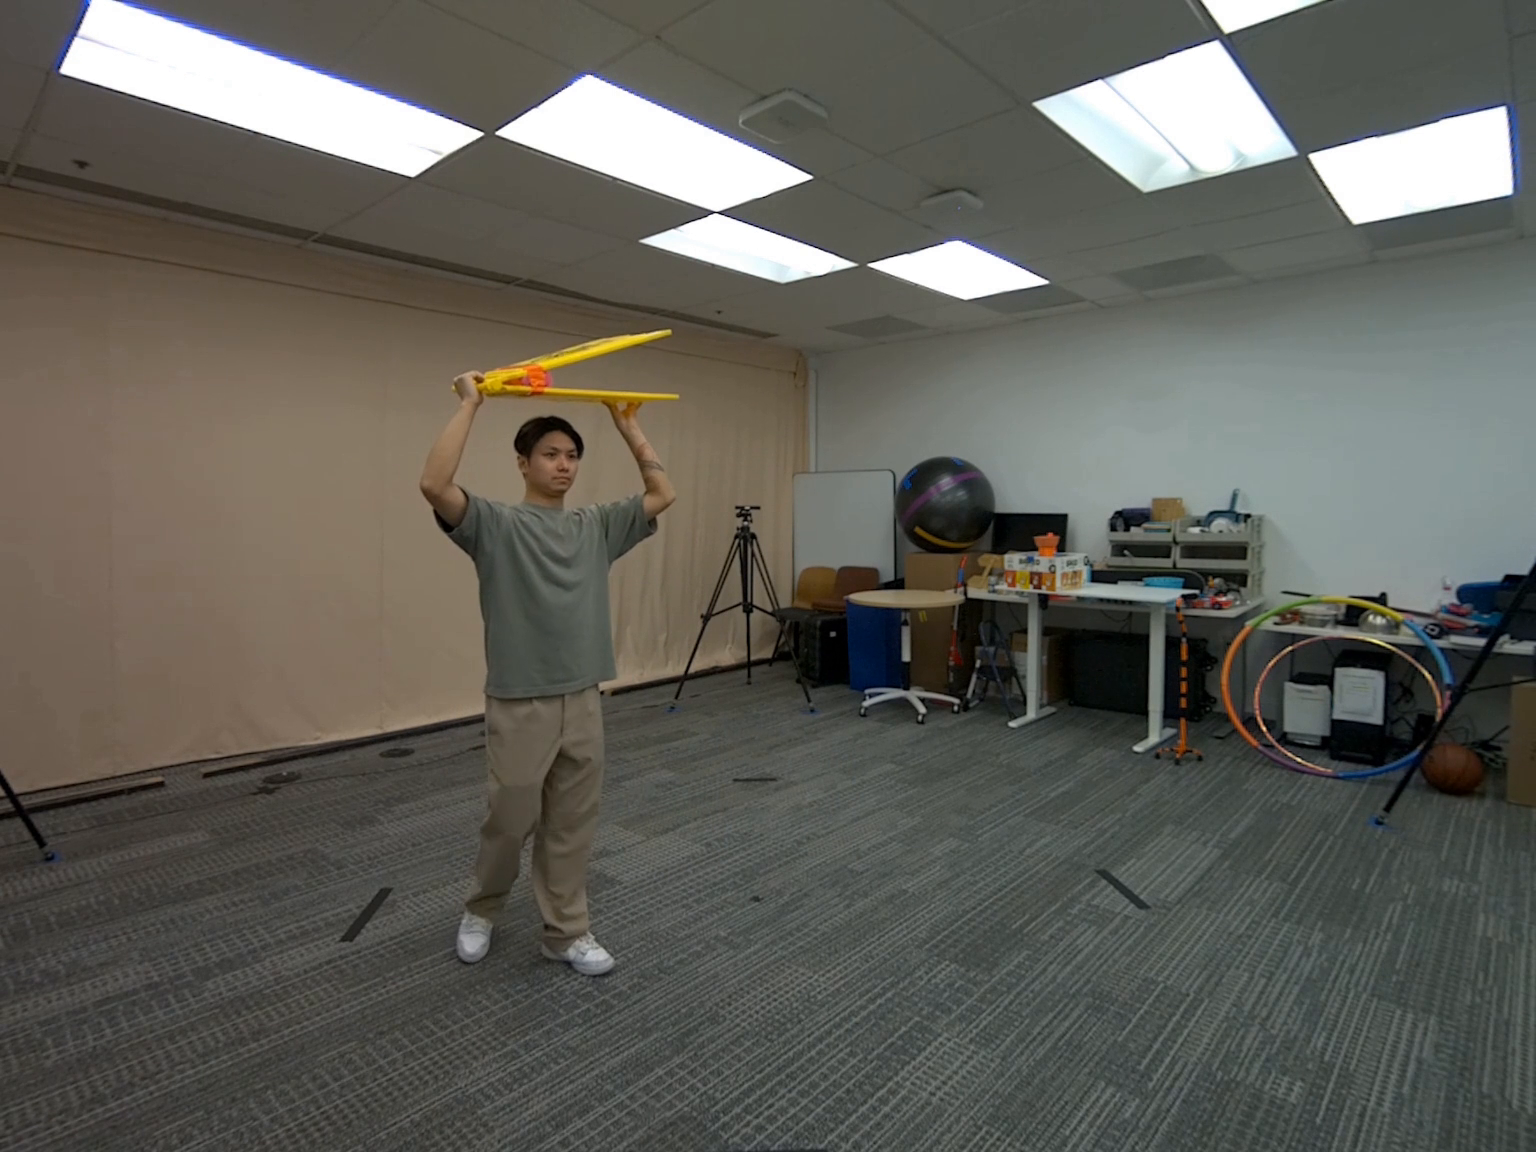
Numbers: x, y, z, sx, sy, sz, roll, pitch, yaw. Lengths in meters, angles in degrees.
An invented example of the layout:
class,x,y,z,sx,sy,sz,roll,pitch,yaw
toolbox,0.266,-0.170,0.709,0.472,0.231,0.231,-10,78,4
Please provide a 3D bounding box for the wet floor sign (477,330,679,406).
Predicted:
class,x,y,z,sx,sy,sz,roll,pitch,yaw
wet floor sign,-0.606,-0.597,2.503,0.292,0.287,0.630,9,20,42
